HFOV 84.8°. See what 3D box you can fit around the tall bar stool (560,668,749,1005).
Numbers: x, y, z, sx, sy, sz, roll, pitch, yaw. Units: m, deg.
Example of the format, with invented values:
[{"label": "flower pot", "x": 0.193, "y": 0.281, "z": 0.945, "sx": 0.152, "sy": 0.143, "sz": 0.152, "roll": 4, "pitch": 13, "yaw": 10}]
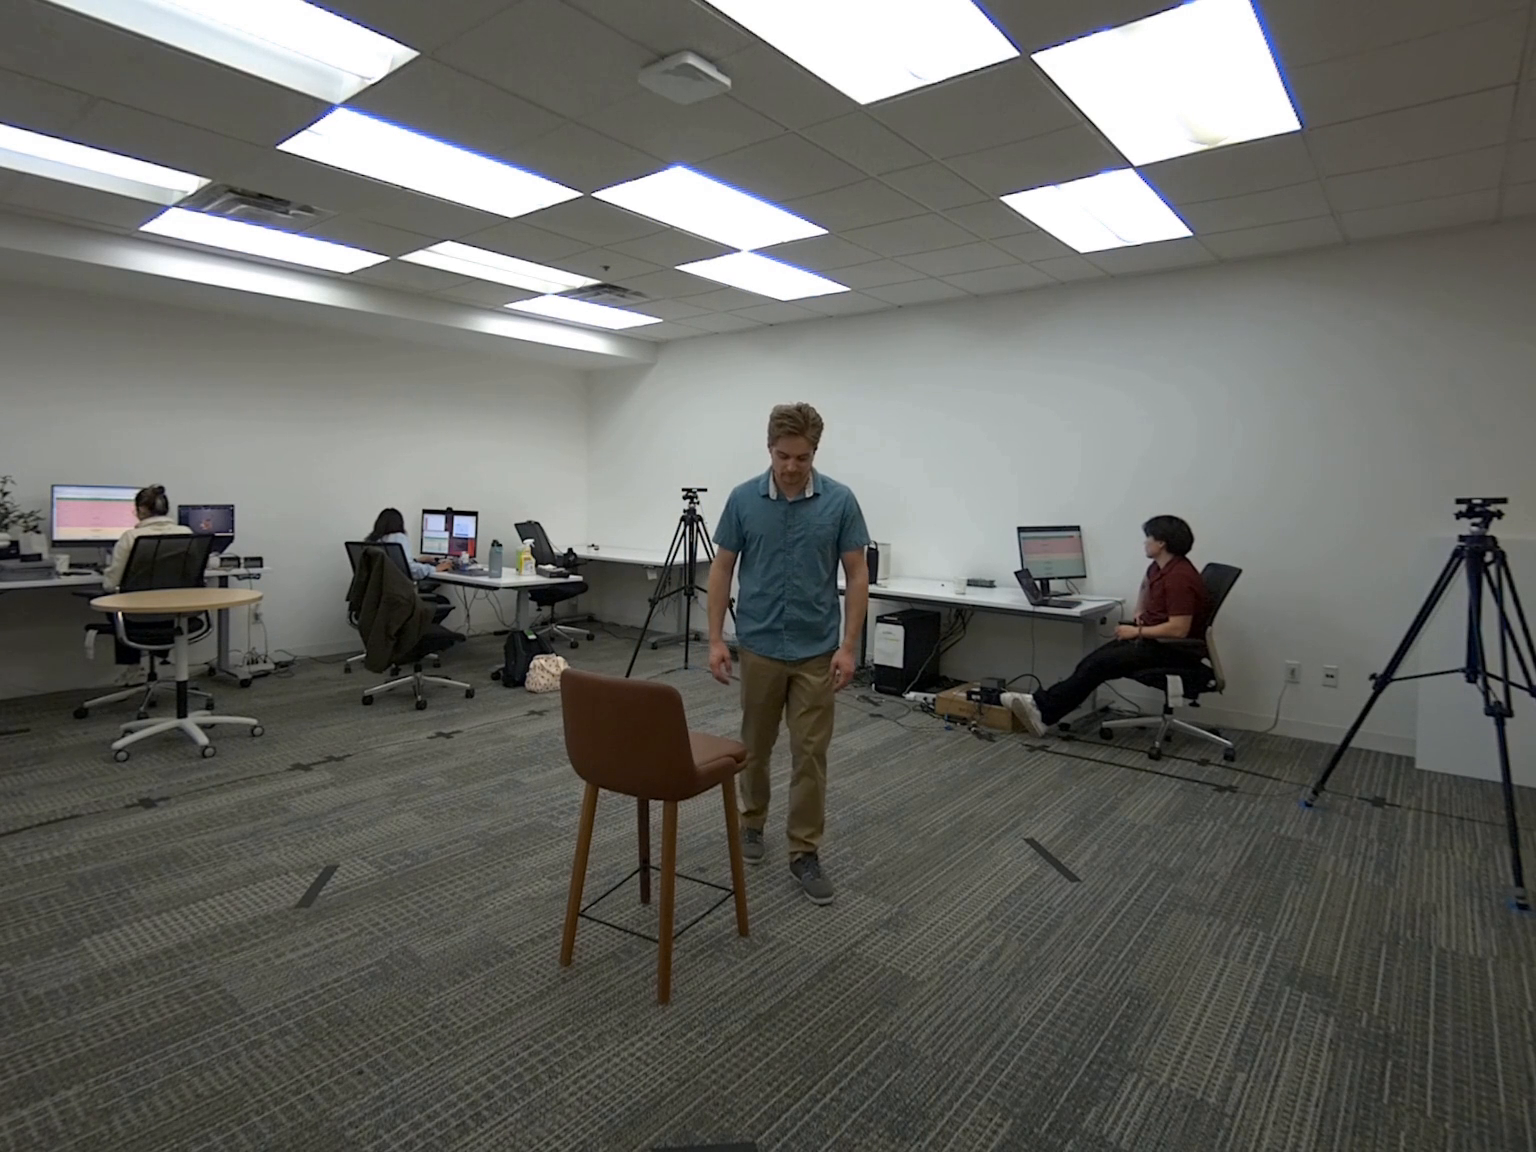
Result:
[{"label": "tall bar stool", "x": -0.348, "y": 0.688, "z": 2.542, "sx": 0.470, "sy": 0.886, "sz": 0.456, "roll": 2, "pitch": 6, "yaw": 29}]
